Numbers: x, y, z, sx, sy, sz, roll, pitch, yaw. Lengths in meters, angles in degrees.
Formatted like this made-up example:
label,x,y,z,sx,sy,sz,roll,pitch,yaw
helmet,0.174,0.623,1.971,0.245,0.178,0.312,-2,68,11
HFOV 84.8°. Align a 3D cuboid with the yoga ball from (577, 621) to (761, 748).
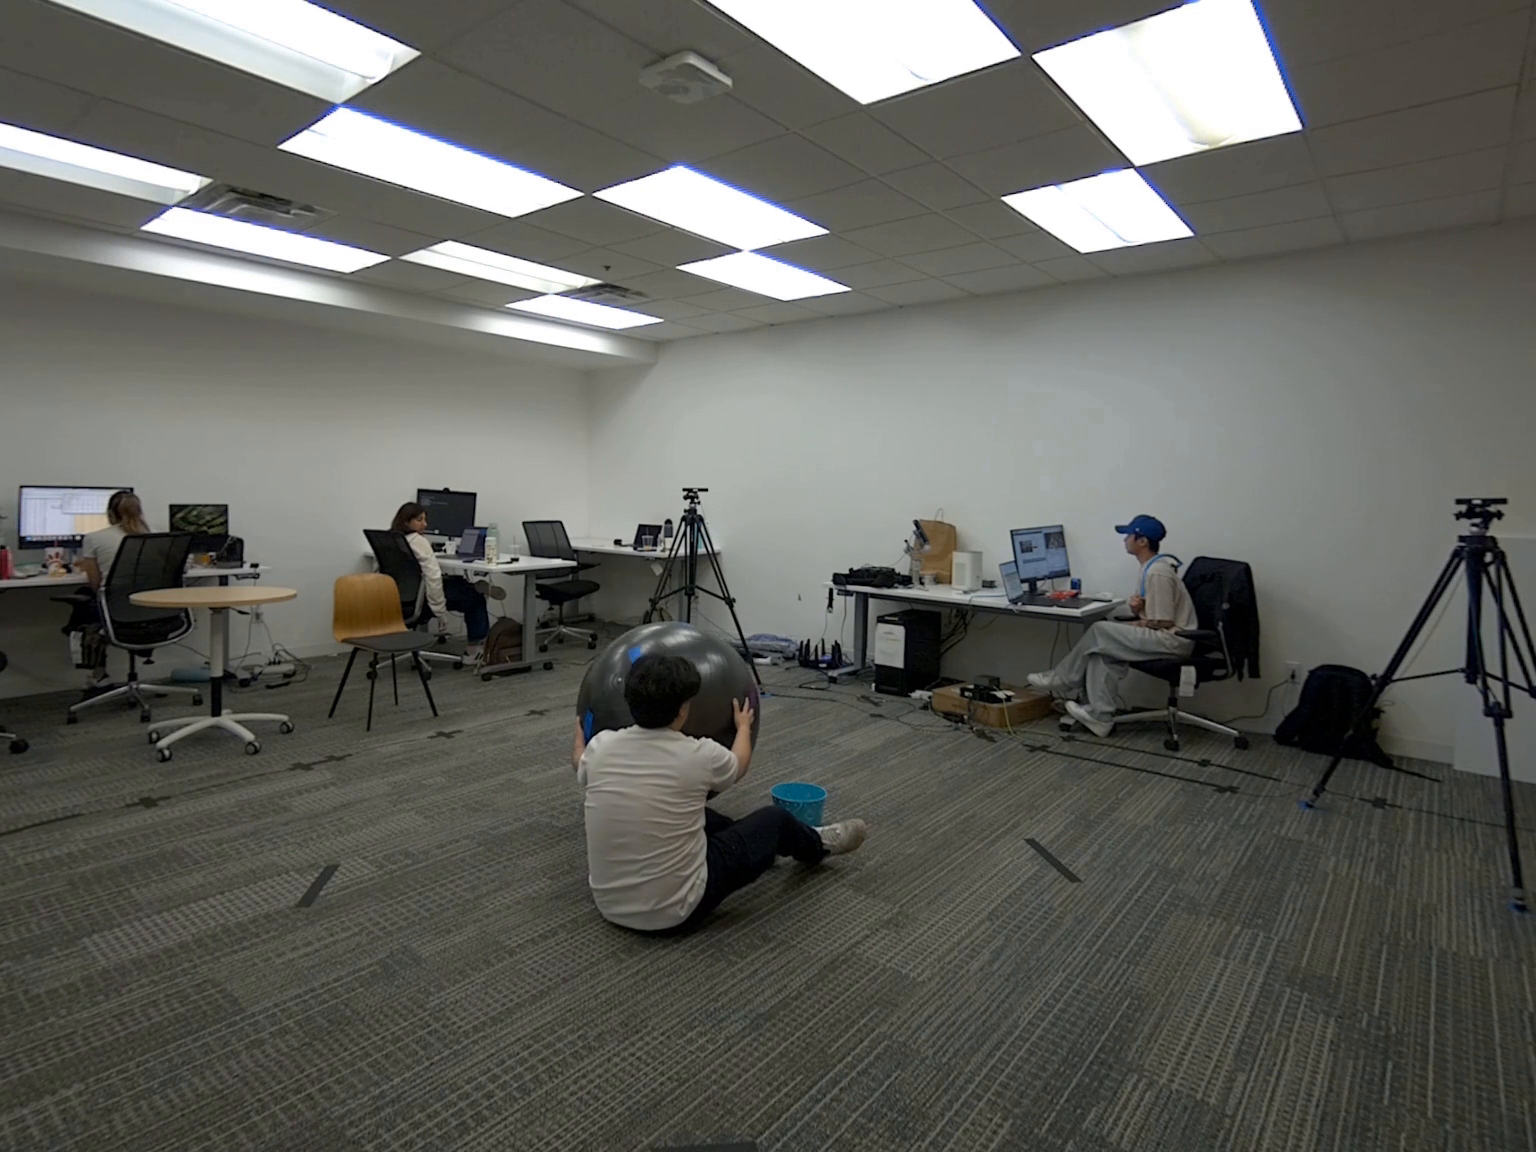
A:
label,x,y,z,sx,sy,sz,roll,pitch,yaw
yoga ball,-0.415,0.563,3.502,0.757,0.755,0.762,1,4,-2
